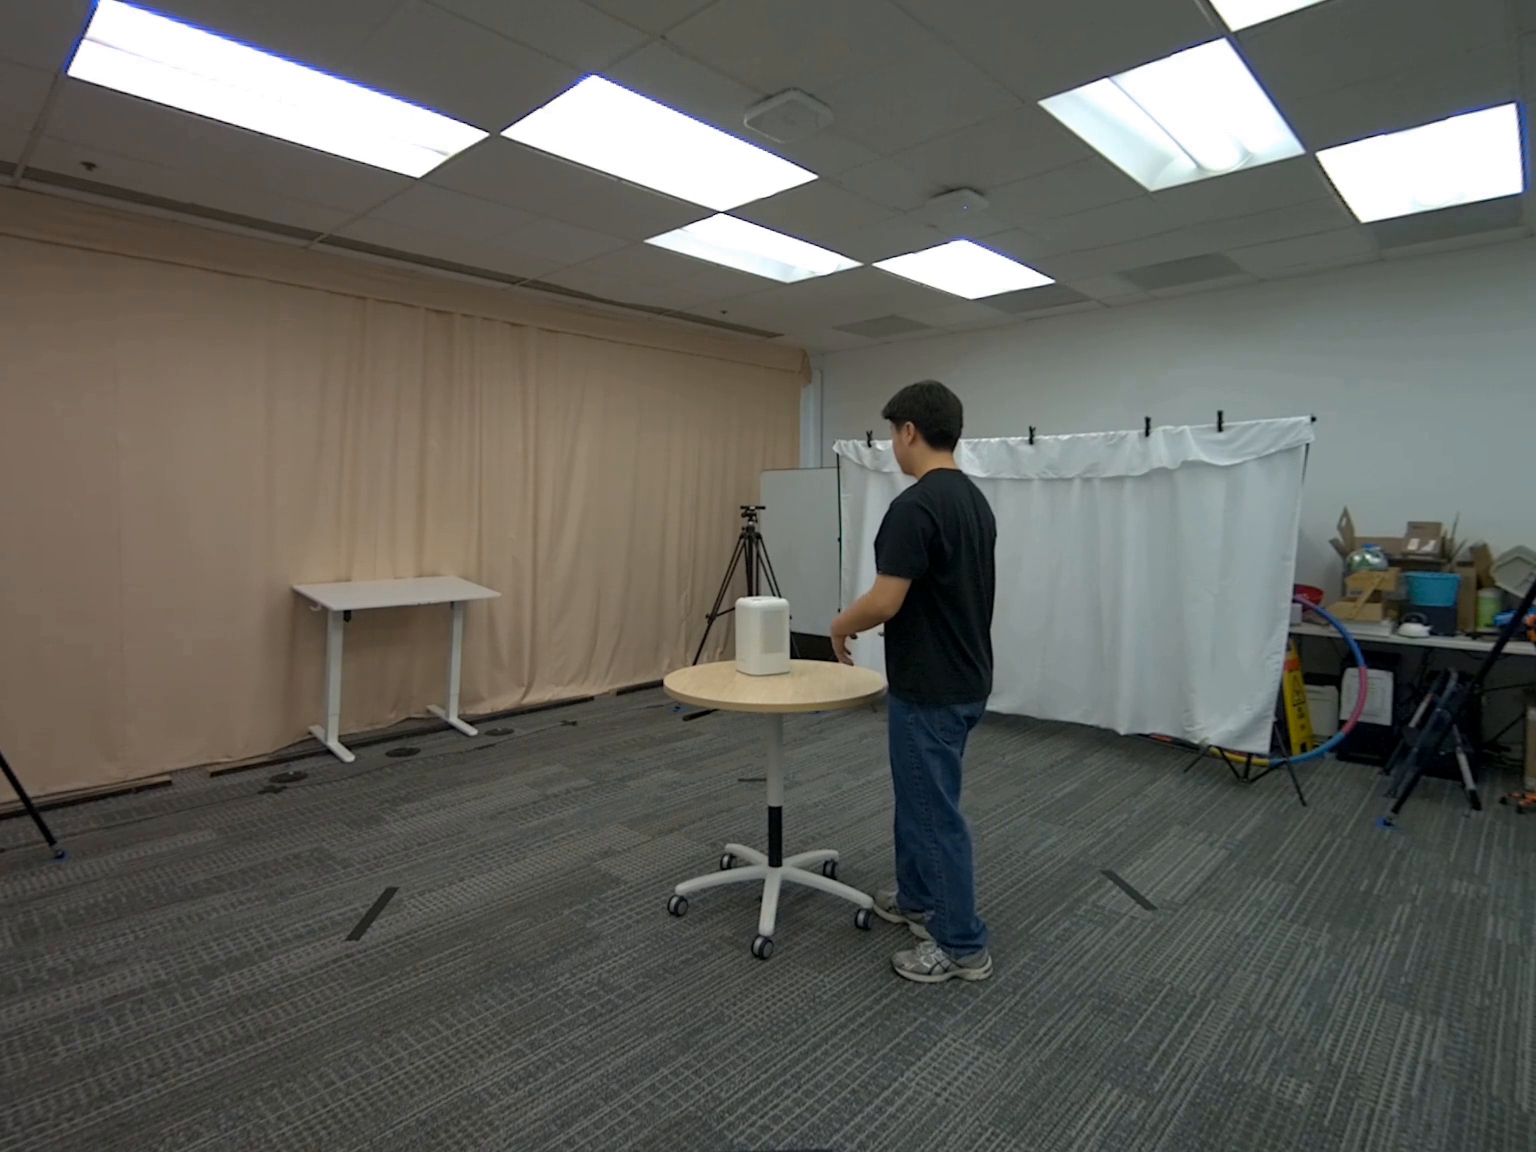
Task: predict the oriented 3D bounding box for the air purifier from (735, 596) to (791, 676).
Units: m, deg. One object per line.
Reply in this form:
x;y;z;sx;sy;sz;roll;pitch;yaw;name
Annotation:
-0.016;0.211;3.034;0.167;0.265;0.176;0;3;-27;air purifier
